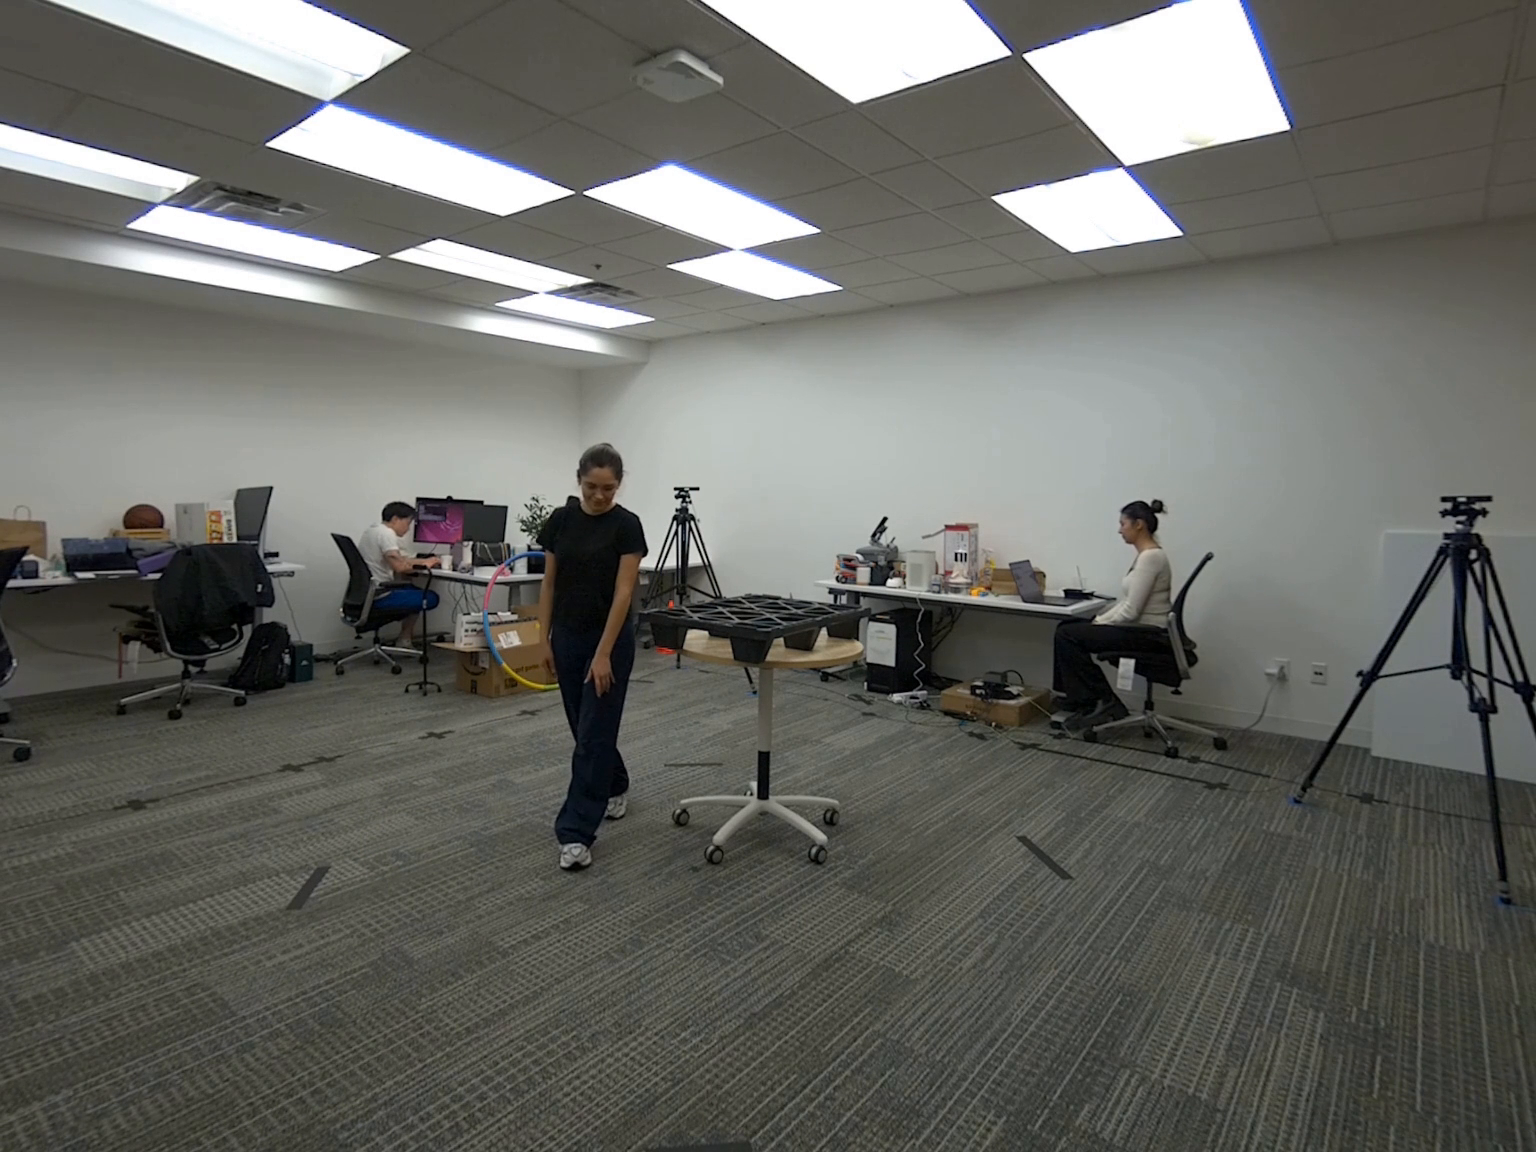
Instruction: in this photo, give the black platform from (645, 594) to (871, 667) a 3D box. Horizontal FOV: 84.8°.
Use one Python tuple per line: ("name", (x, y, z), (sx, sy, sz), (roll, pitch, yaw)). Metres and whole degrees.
("black platform", (-0.009, 0.196, 3.399), (0.625, 0.142, 0.783), (6, 8, 35))
